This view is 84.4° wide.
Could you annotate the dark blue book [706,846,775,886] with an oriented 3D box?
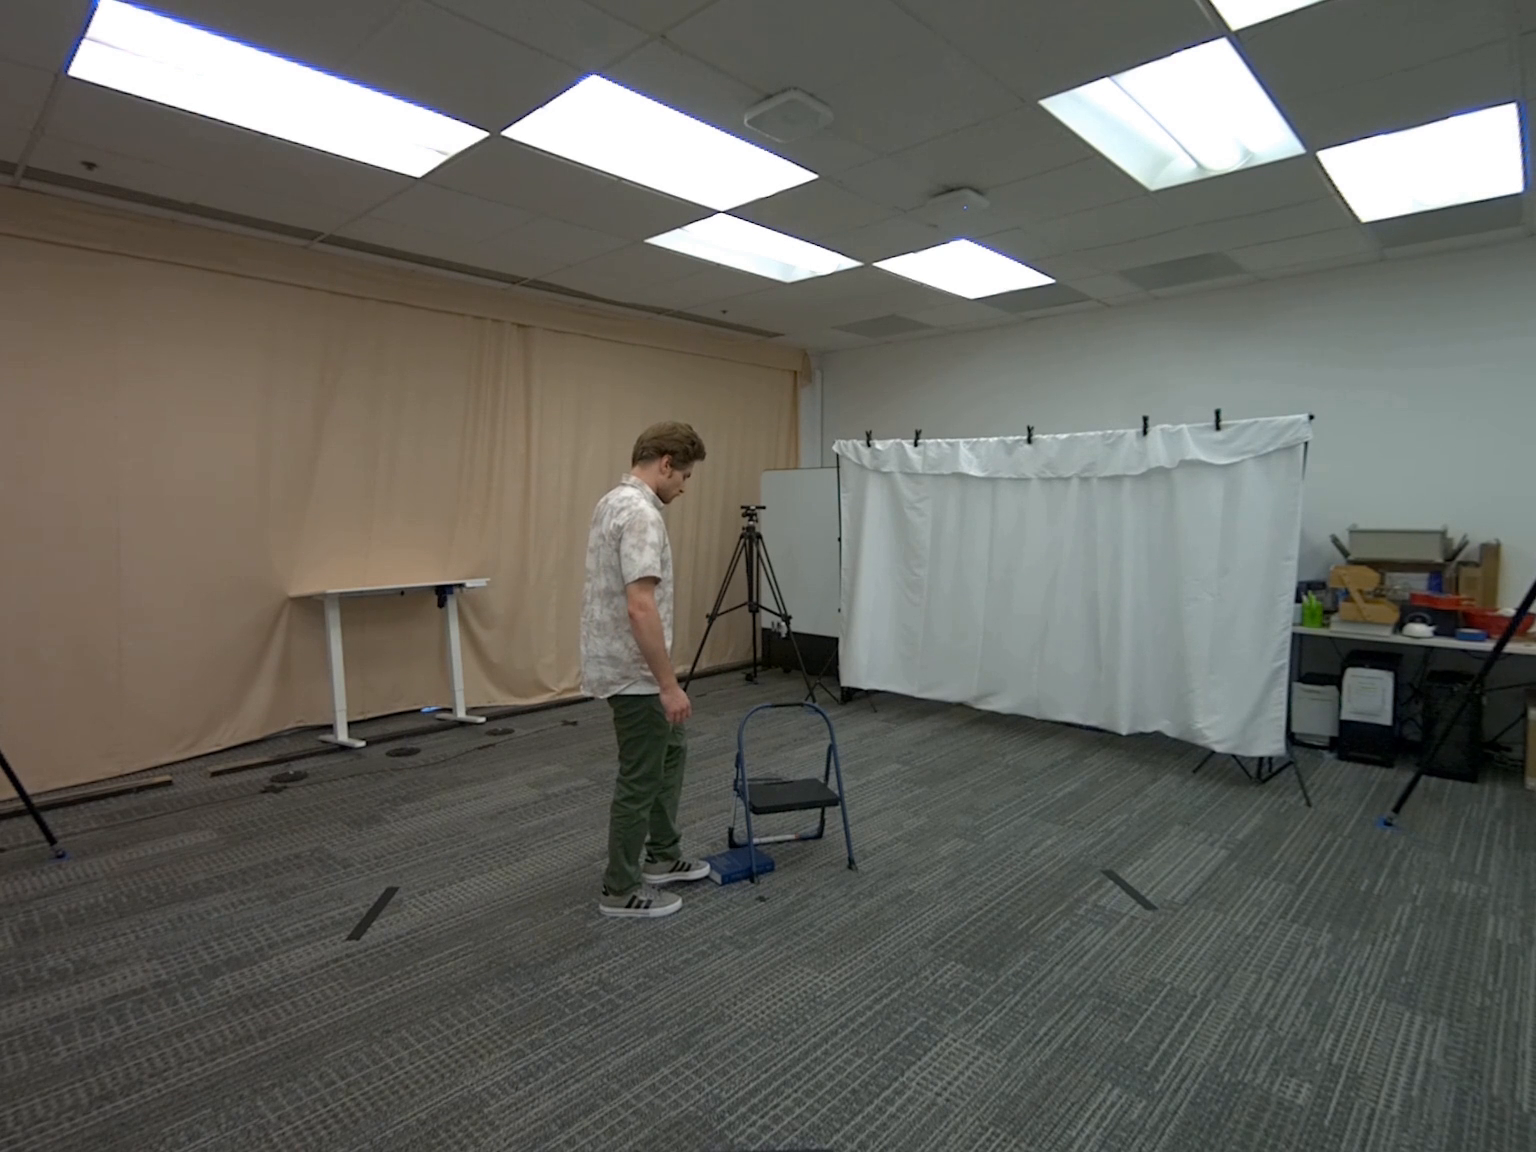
[{"bbox_3d":[-0.118,1.102,3.211,0.238,0.045,0.168,-4,6,-33],"label":"dark blue book"}]
